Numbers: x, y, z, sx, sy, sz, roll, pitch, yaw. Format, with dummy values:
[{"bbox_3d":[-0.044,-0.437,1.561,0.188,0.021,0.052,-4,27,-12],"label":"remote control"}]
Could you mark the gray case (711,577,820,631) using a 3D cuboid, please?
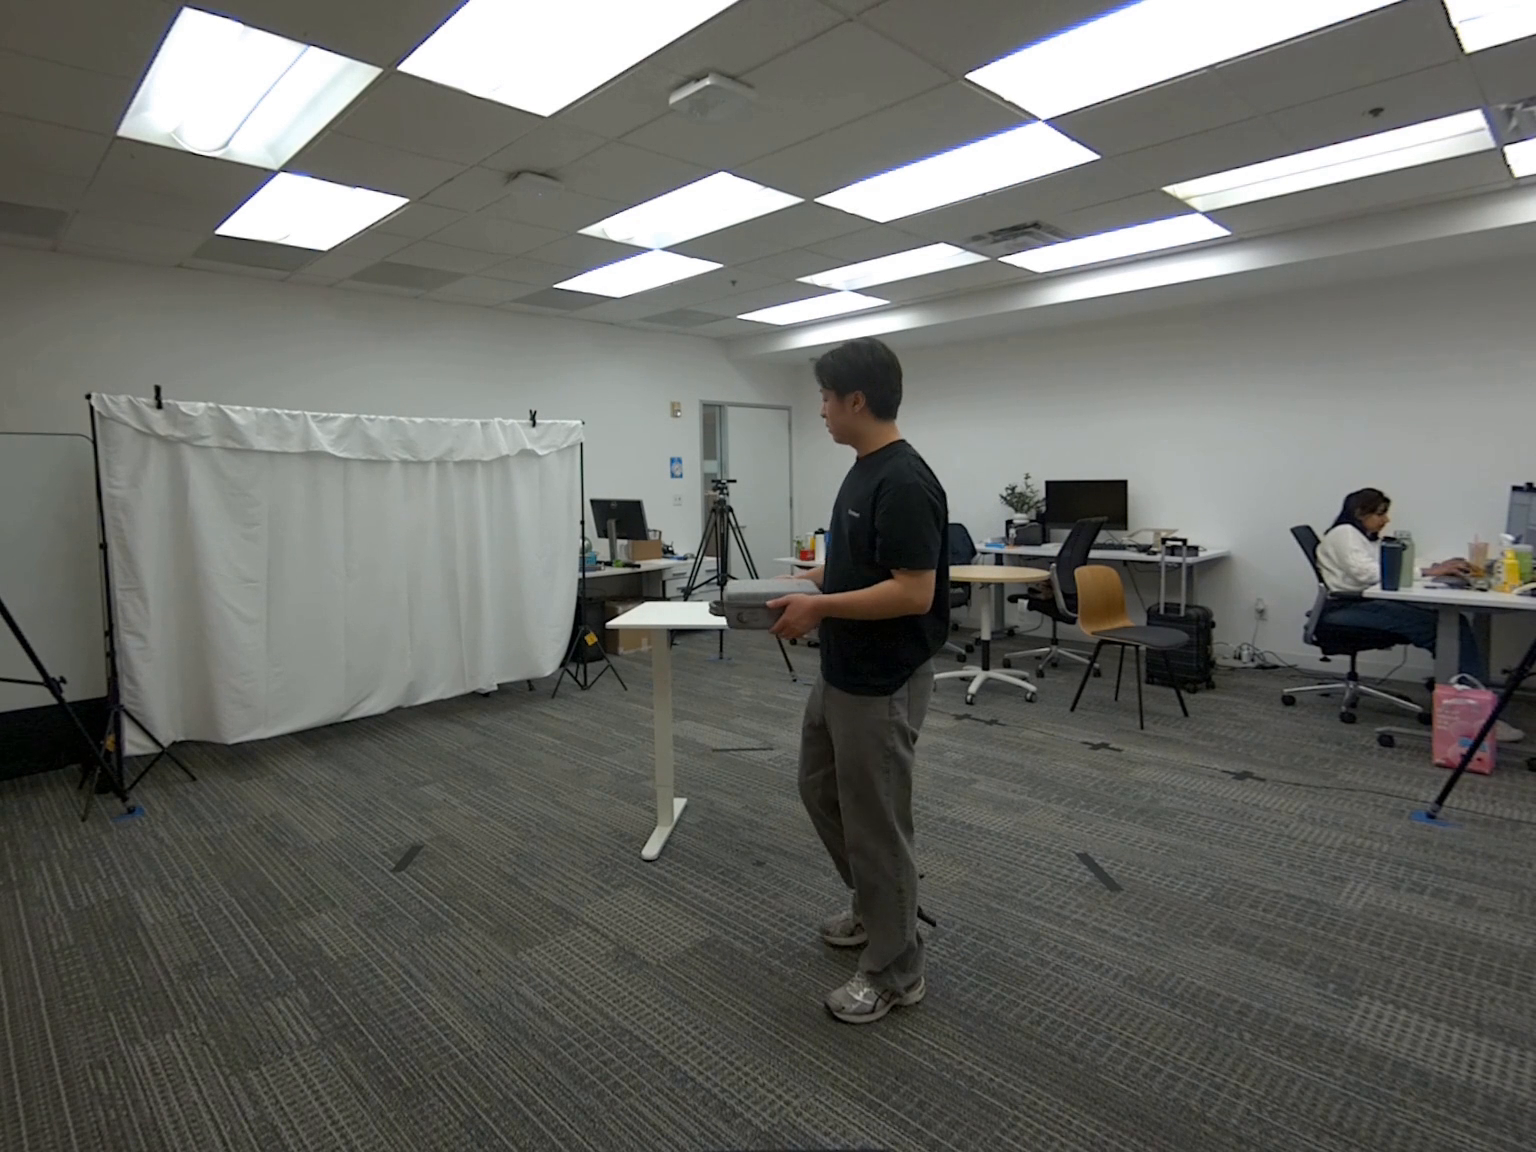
[{"bbox_3d":[-0.002,0.071,2.306,0.285,0.102,0.267,-1,9,-8],"label":"gray case"}]
